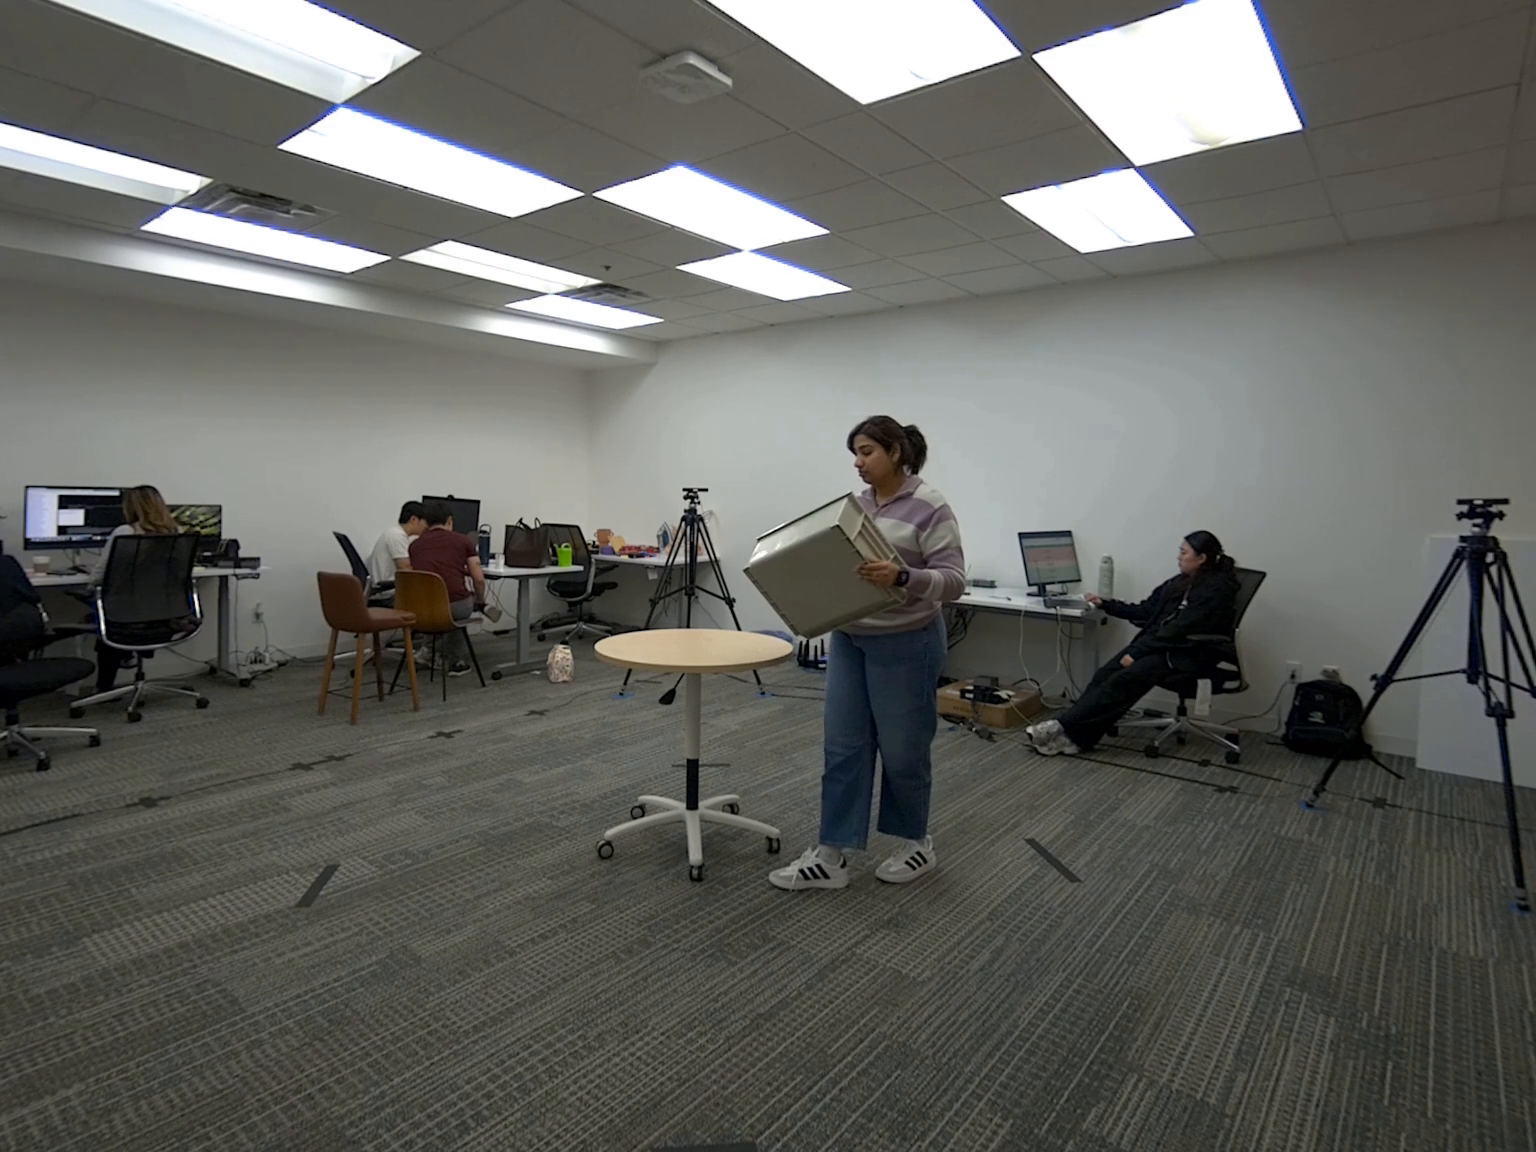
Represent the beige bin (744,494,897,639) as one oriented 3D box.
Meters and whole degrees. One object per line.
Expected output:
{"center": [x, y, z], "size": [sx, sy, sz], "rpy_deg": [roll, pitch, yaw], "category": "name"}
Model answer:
{"center": [0.183, -0.017, 2.843], "size": [0.428, 0.369, 0.190], "rpy_deg": [-26, 20, 36], "category": "beige bin"}
